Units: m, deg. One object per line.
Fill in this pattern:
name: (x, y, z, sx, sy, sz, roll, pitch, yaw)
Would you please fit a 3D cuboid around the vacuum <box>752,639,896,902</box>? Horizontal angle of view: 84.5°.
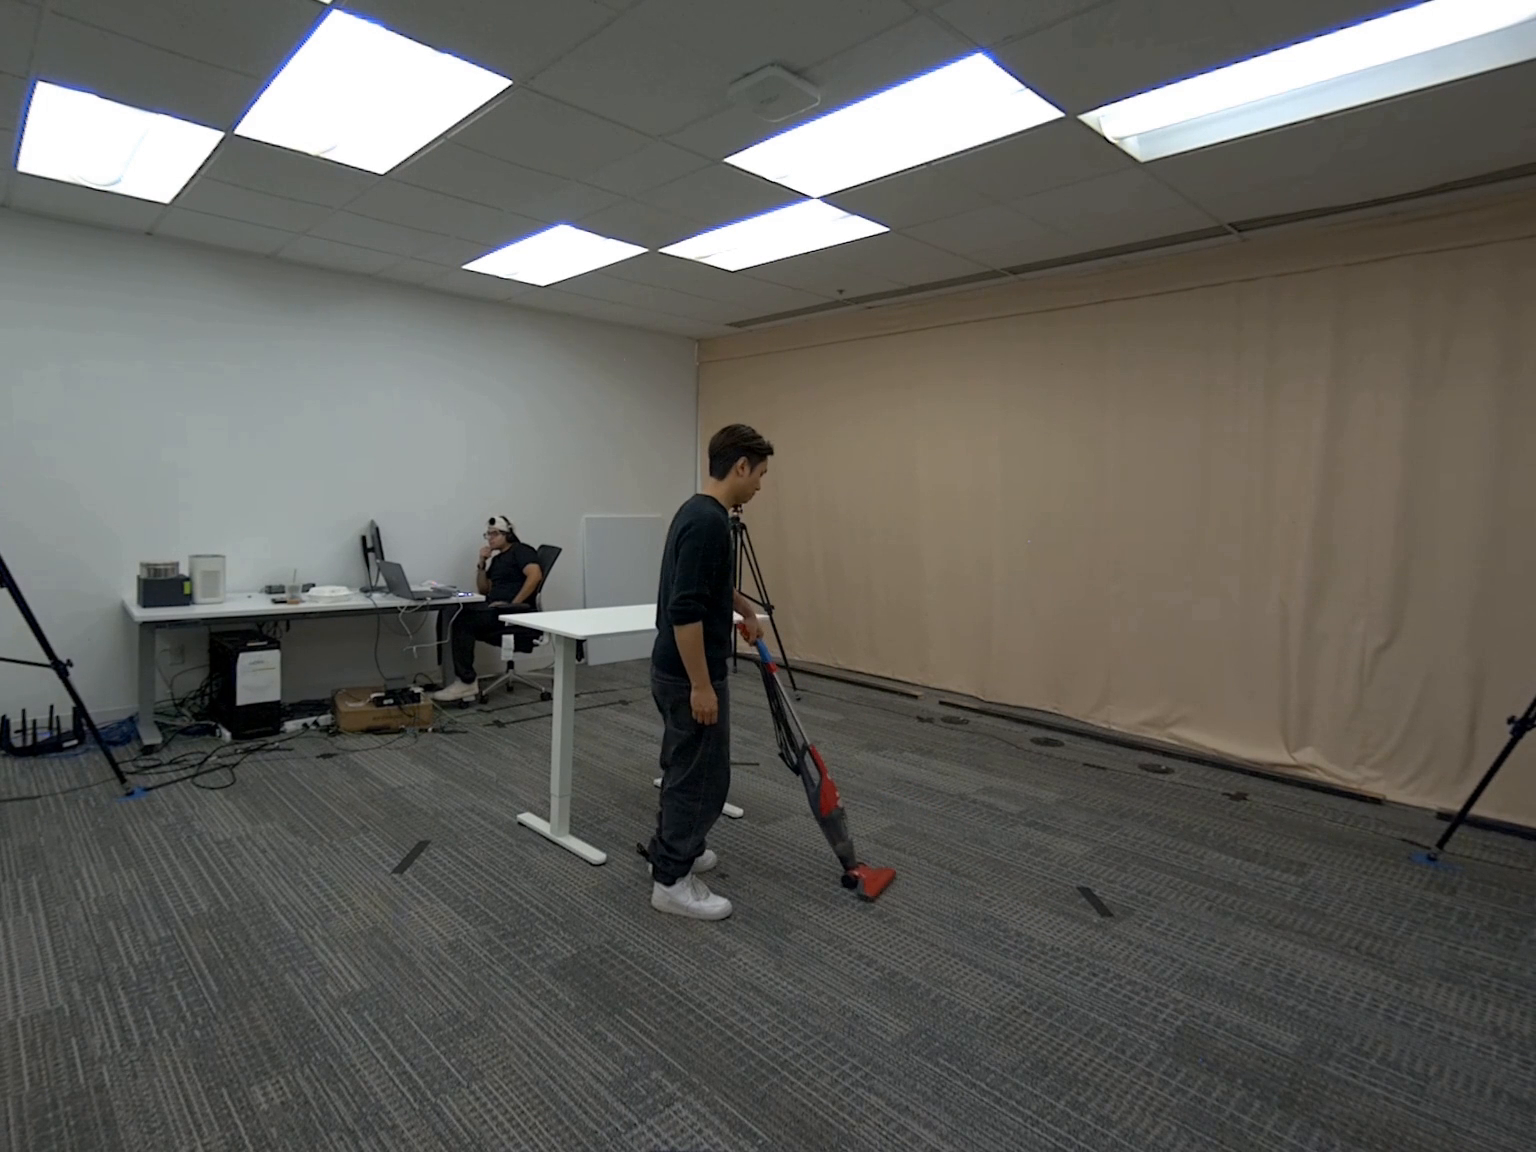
vacuum: (0.119, 0.653, 3.173, 0.145, 1.064, 0.247, -33, -15, 21)
